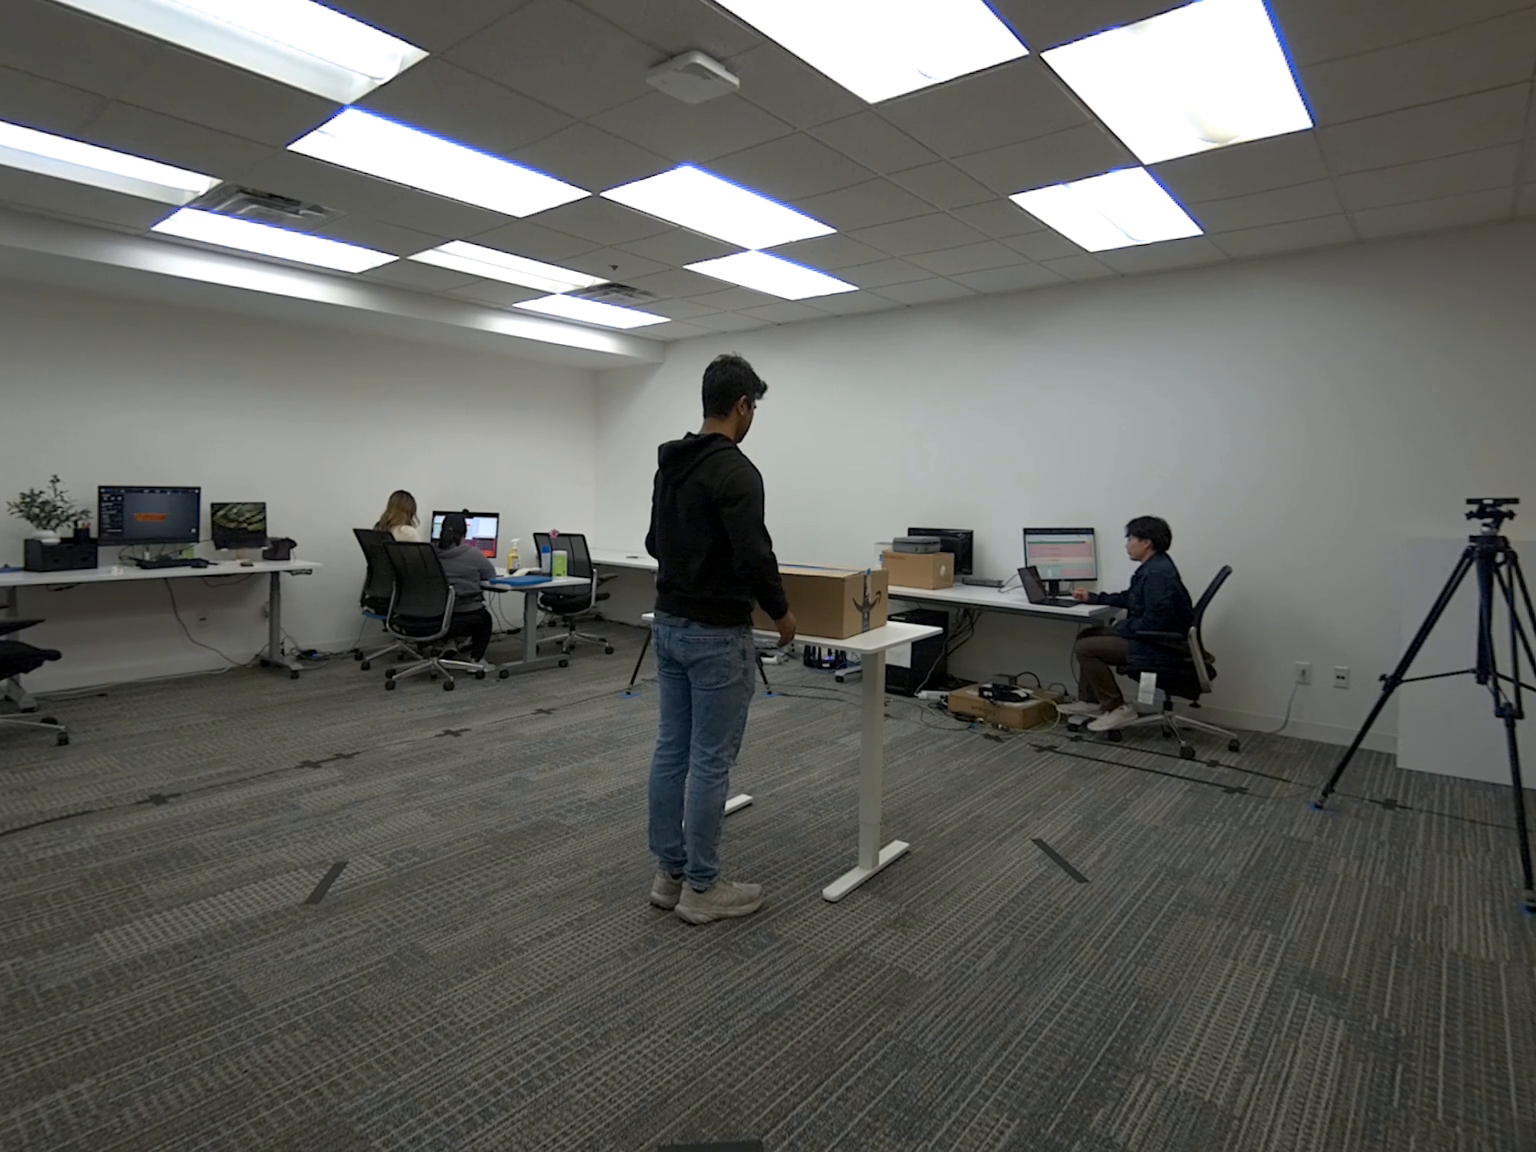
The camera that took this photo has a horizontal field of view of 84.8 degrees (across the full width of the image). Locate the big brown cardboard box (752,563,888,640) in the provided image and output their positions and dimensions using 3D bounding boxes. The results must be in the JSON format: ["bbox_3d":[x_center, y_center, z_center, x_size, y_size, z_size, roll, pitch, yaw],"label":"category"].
[{"bbox_3d":[0.099,0.071,3.219,0.607,0.232,0.407,6,7,30],"label":"big brown cardboard box"}]
